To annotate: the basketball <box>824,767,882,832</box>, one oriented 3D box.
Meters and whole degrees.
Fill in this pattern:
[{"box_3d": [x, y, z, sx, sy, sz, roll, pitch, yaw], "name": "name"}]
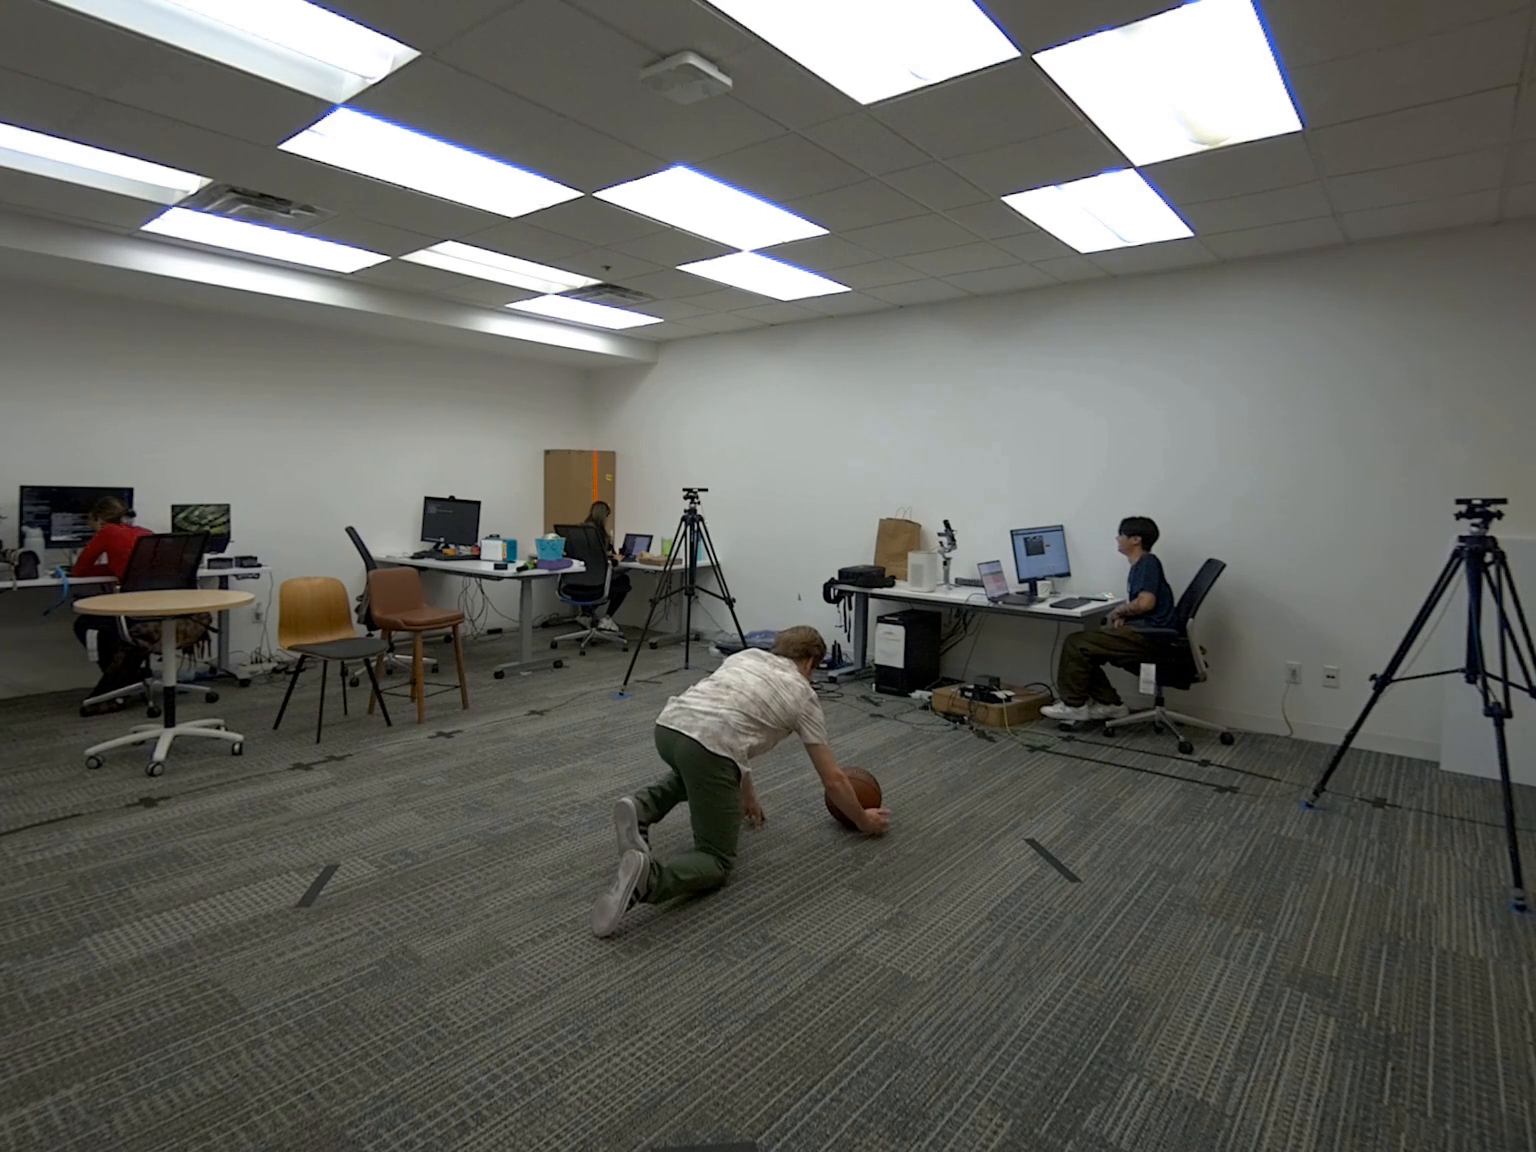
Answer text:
[{"box_3d": [0.350, 0.914, 3.563, 0.235, 0.235, 0.237, 1, 4, -2], "name": "basketball"}]
